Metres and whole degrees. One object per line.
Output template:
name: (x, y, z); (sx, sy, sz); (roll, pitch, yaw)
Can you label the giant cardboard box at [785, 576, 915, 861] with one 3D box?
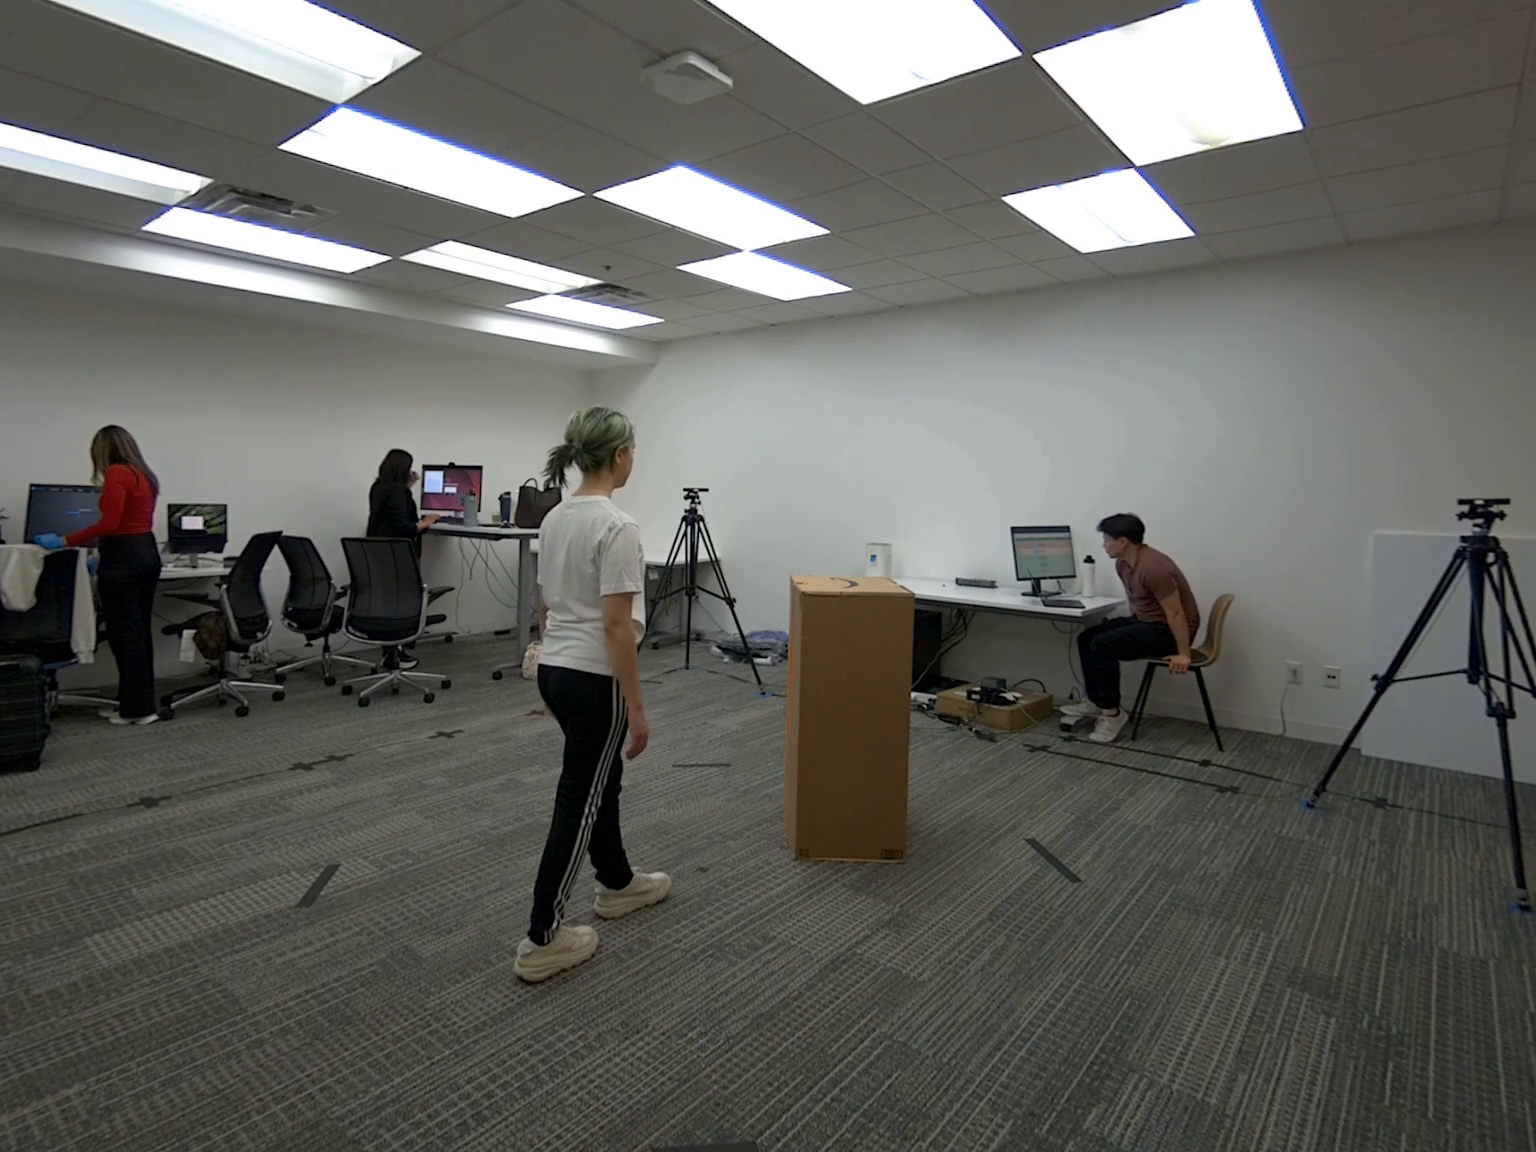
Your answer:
giant cardboard box: (0.300, 0.536, 3.455); (0.446, 1.024, 0.586); (1, 4, -2)
